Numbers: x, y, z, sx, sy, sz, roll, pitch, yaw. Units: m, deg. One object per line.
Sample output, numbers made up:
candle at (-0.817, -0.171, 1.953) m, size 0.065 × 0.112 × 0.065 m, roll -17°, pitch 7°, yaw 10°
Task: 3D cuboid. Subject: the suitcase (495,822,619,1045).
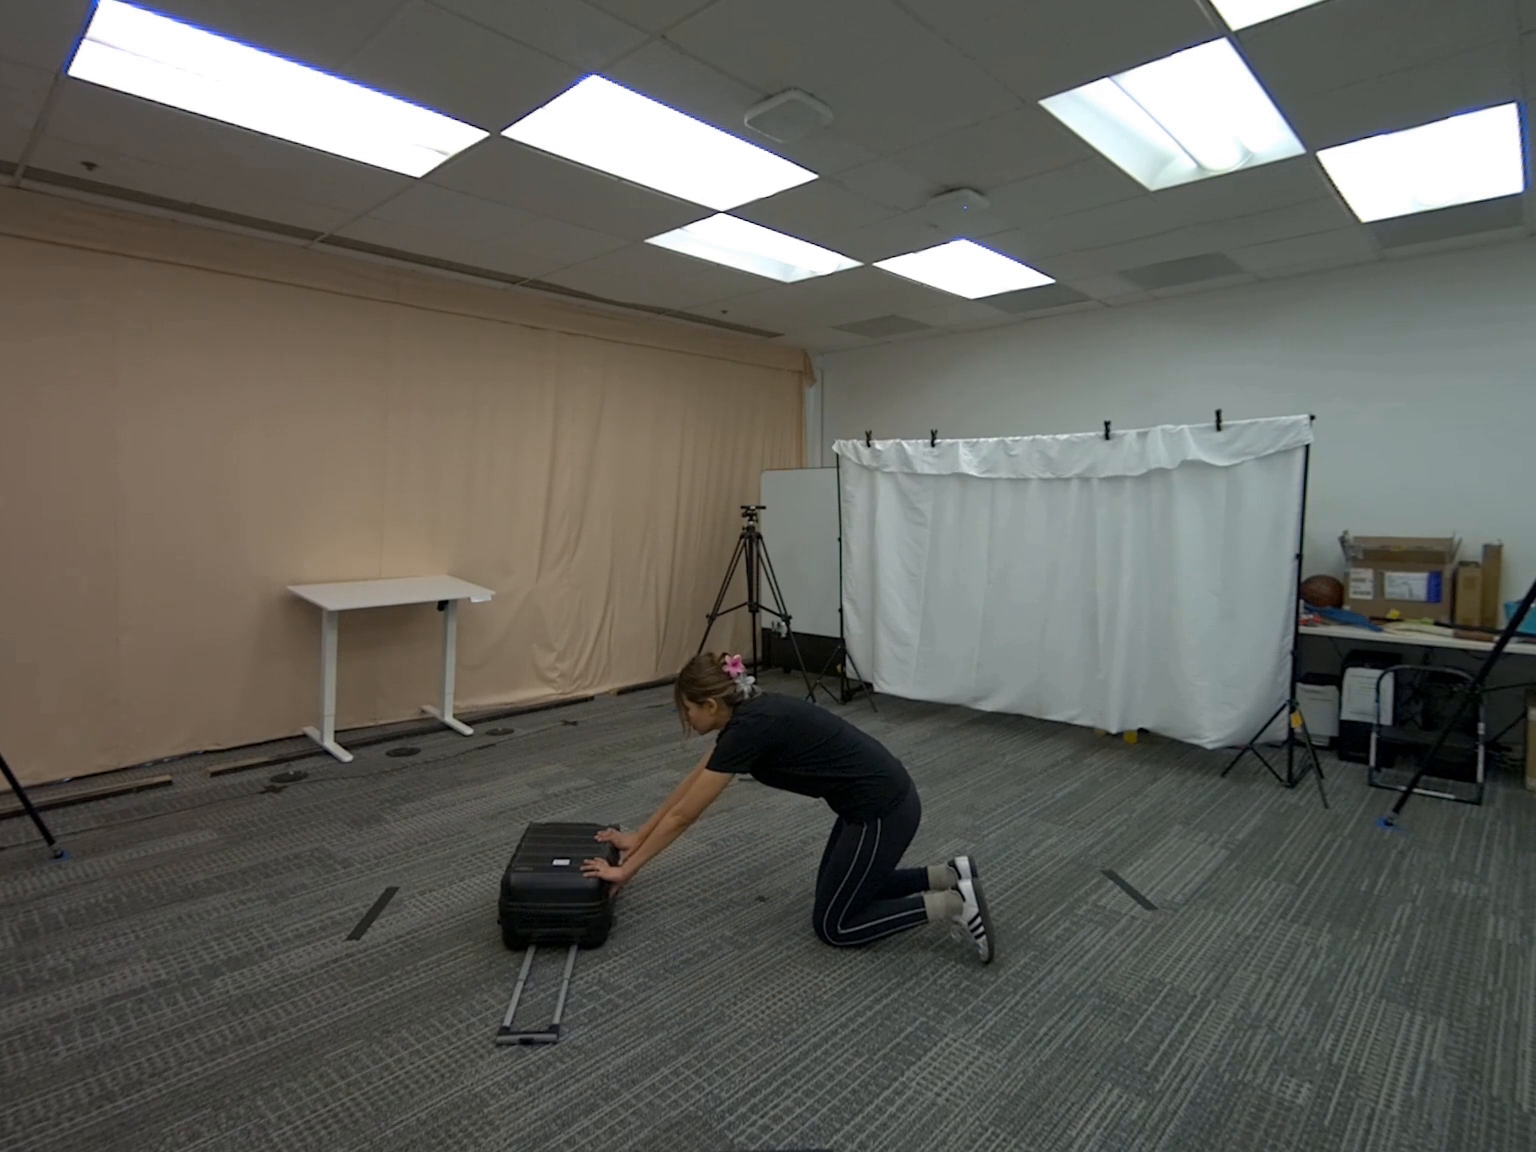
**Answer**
suitcase at (-0.677, 1.055, 2.667) m, size 0.383 × 0.257 × 0.983 m, roll 1°, pitch 3°, yaw -5°
